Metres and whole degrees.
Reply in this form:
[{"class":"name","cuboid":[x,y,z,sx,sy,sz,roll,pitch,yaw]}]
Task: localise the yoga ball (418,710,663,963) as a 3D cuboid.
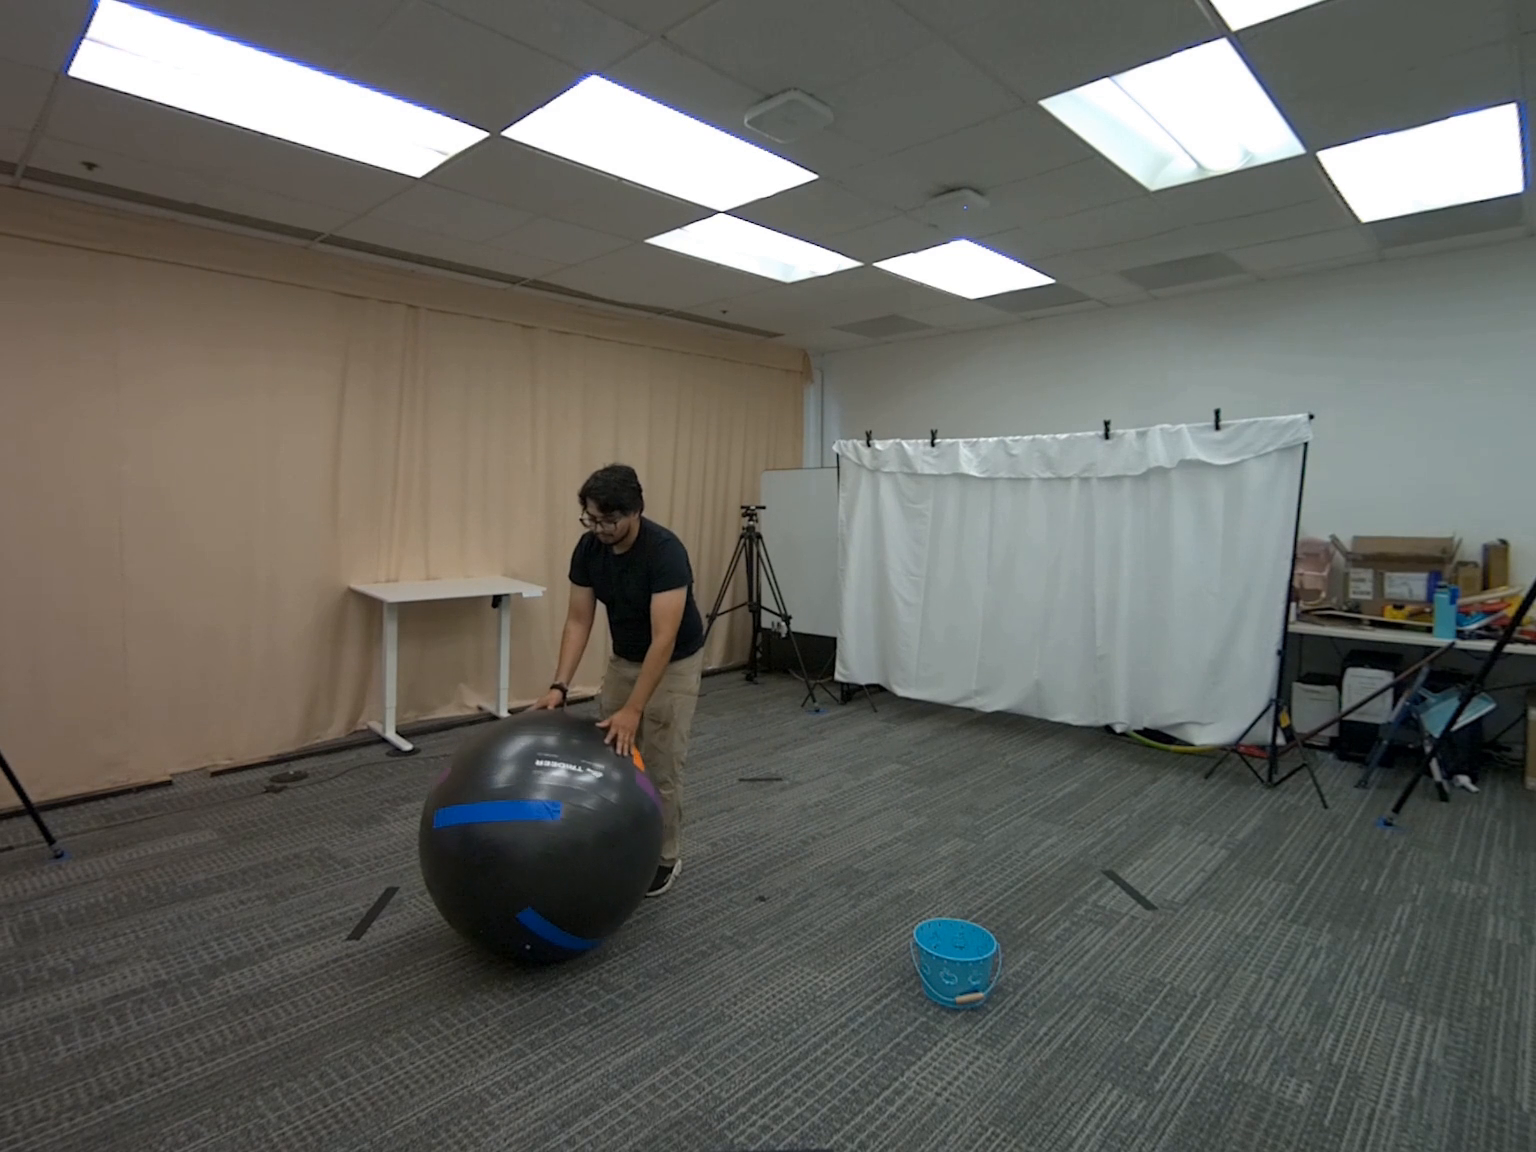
[{"class":"yoga ball","cuboid":[-0.717,0.808,2.671,0.757,0.756,0.760,0,4,-2]}]
